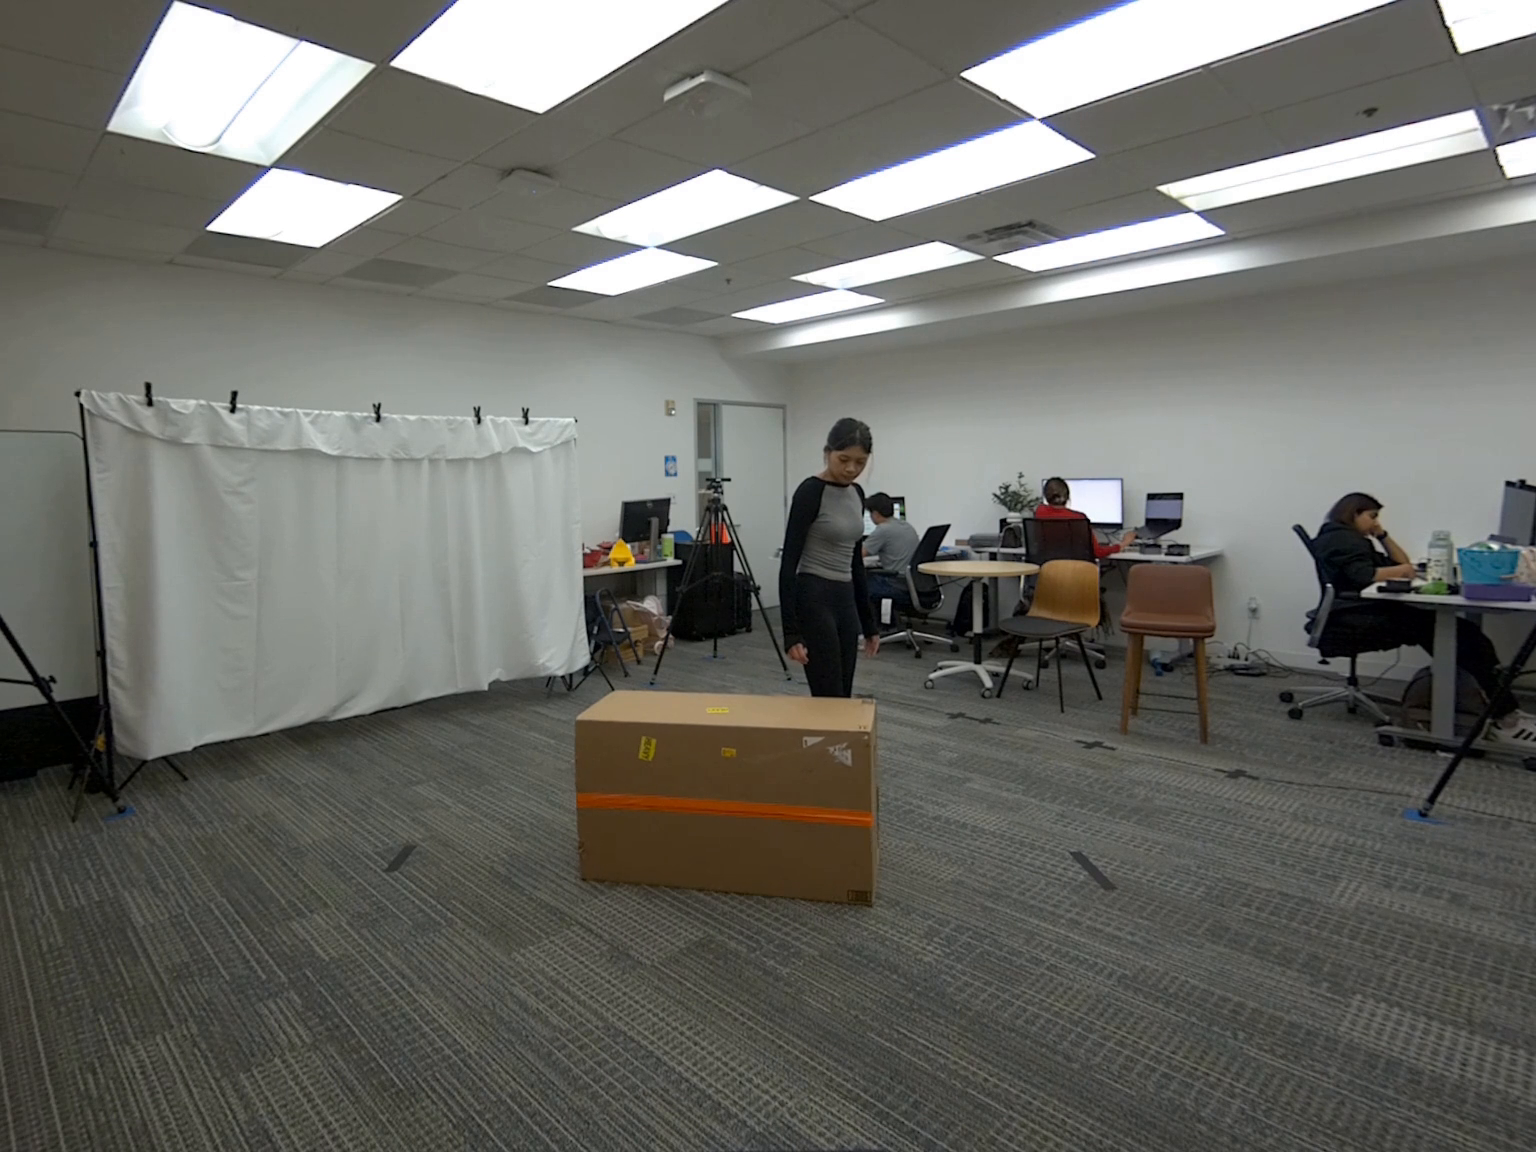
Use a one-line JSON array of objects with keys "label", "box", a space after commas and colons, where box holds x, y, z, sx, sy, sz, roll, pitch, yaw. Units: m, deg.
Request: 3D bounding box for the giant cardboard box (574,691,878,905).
[{"label": "giant cardboard box", "box": [-0.137, 0.759, 3.067, 1.039, 0.576, 0.422, 0, 4, 13]}]
